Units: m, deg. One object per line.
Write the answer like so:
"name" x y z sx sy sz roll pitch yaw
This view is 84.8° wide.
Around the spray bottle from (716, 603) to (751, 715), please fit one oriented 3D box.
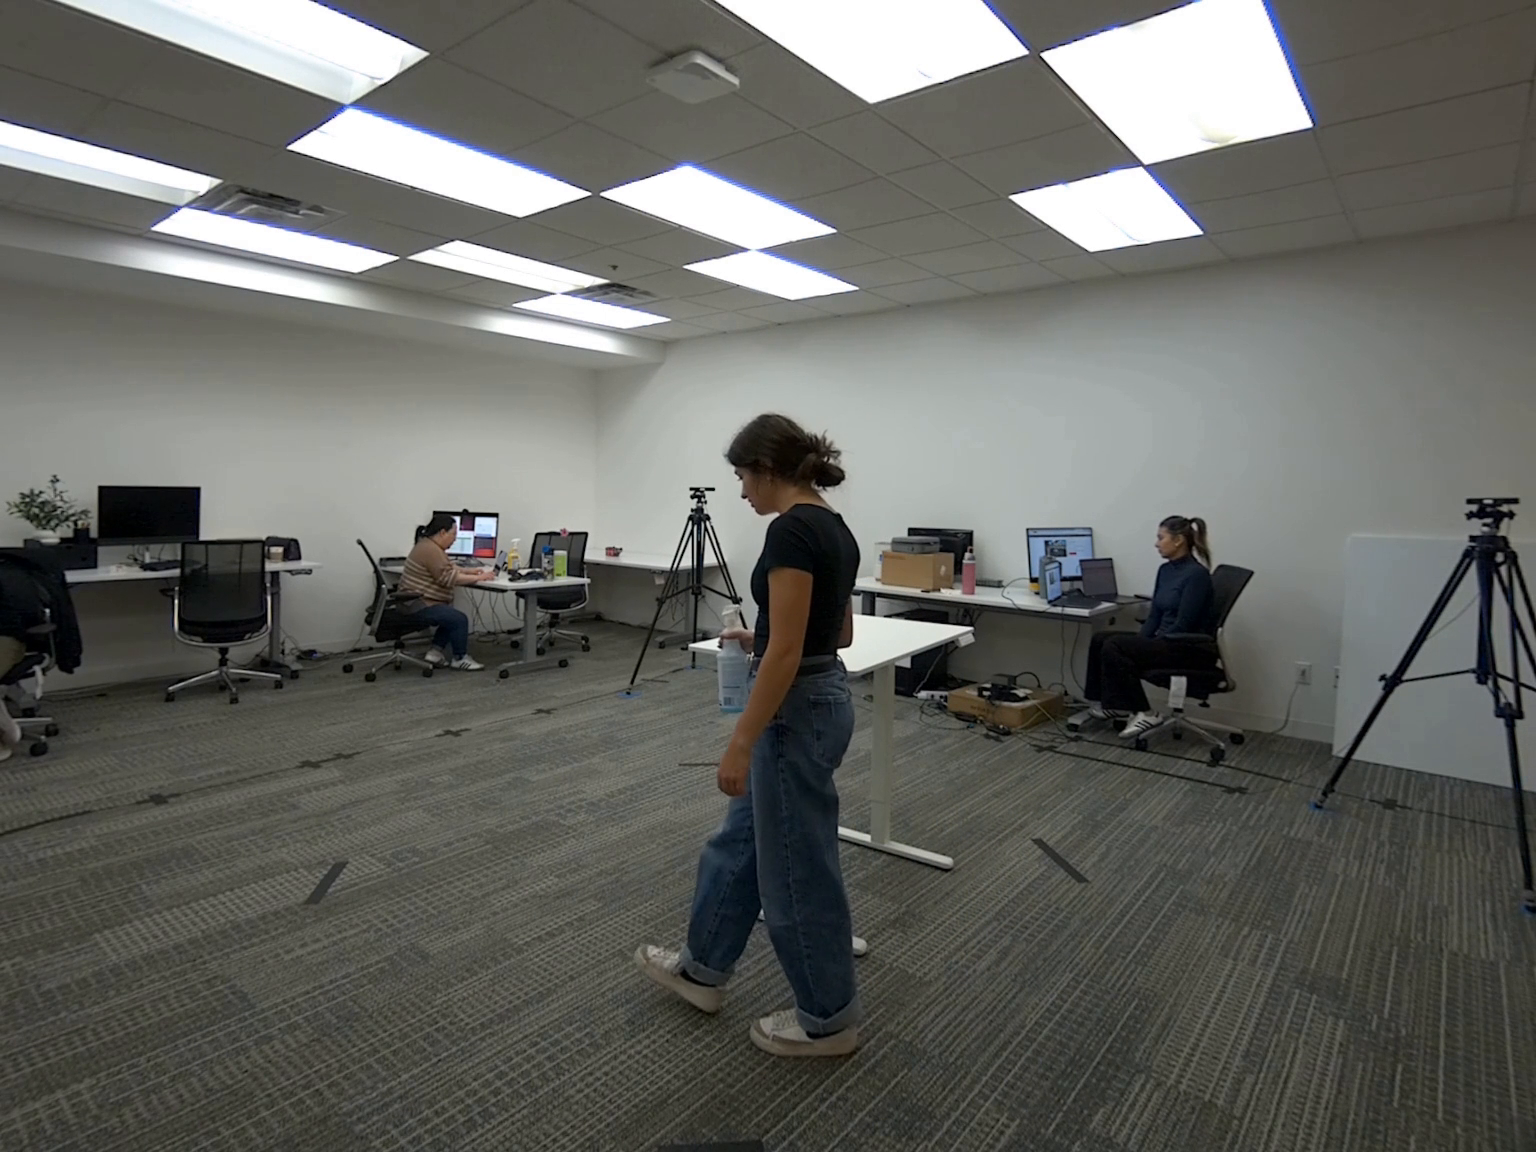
"spray bottle" -0.110 0.231 2.374 0.087 0.299 0.090 -5 -4 -3
